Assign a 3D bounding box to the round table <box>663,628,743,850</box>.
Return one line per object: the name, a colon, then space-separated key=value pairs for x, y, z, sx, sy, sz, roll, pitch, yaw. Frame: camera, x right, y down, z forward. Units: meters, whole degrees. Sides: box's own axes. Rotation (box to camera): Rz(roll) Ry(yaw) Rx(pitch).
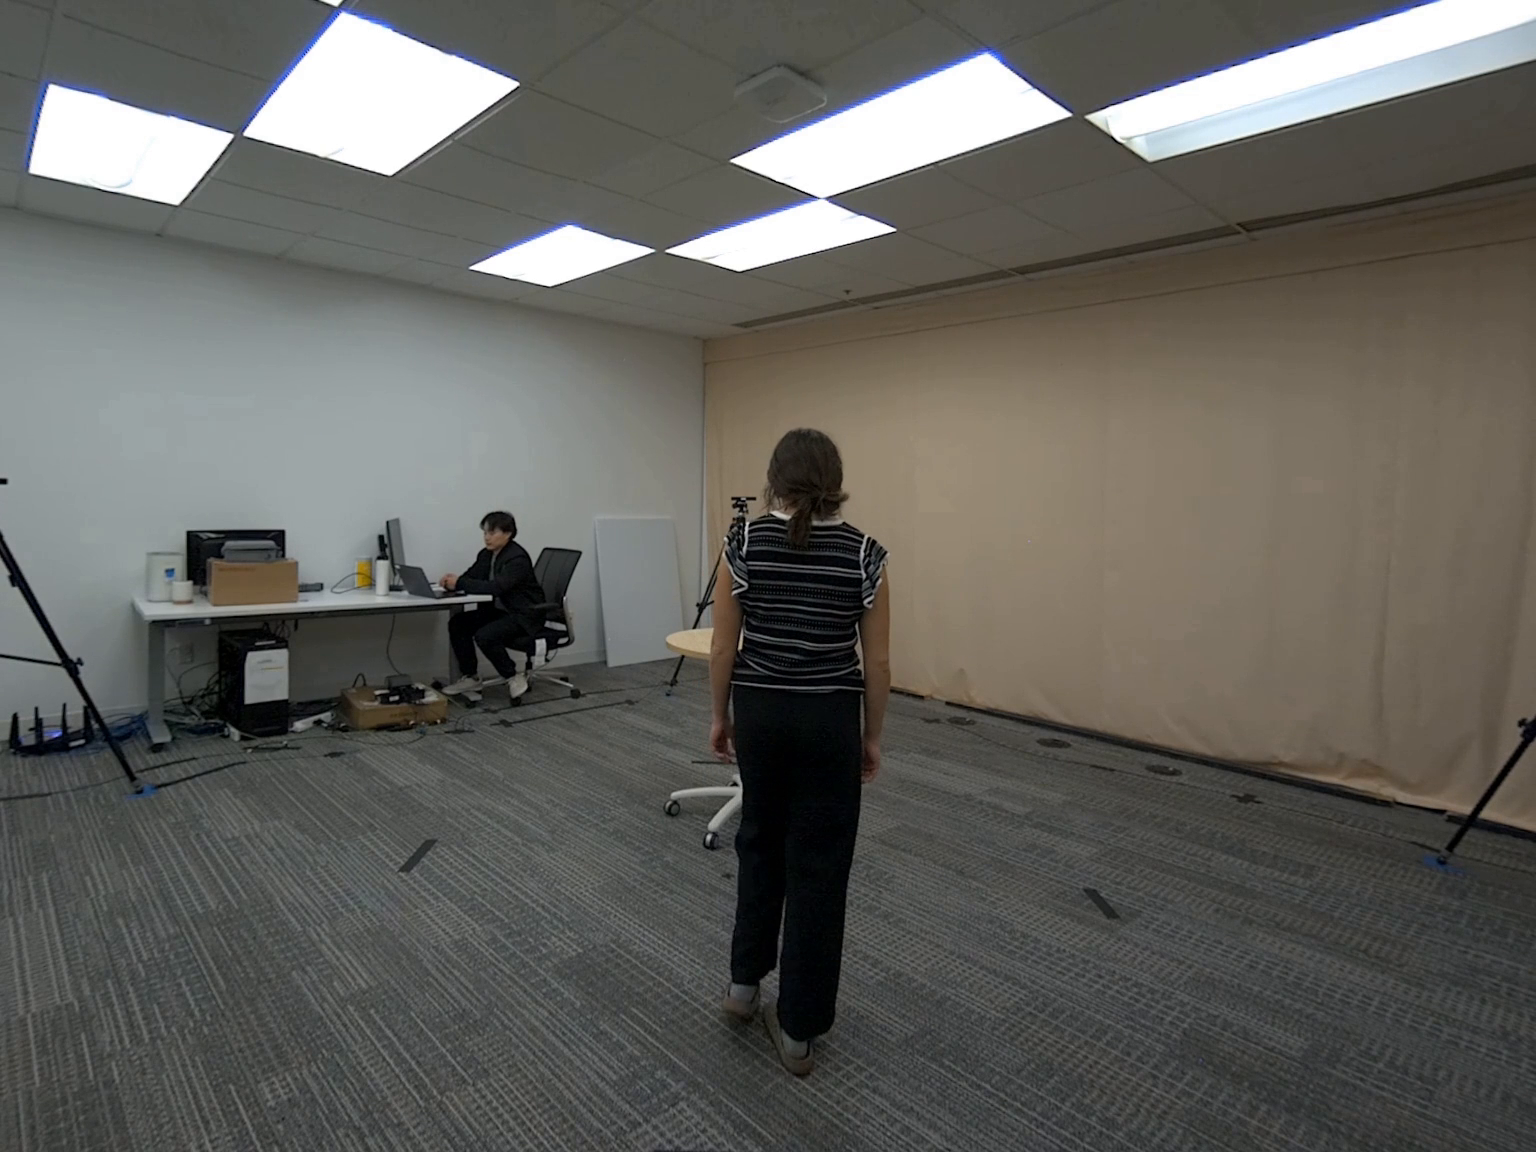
round table: x=-0.061 y=0.672 z=3.639 sx=0.784 sy=0.784 sz=0.788 roll=2 pitch=4 yaw=-1
